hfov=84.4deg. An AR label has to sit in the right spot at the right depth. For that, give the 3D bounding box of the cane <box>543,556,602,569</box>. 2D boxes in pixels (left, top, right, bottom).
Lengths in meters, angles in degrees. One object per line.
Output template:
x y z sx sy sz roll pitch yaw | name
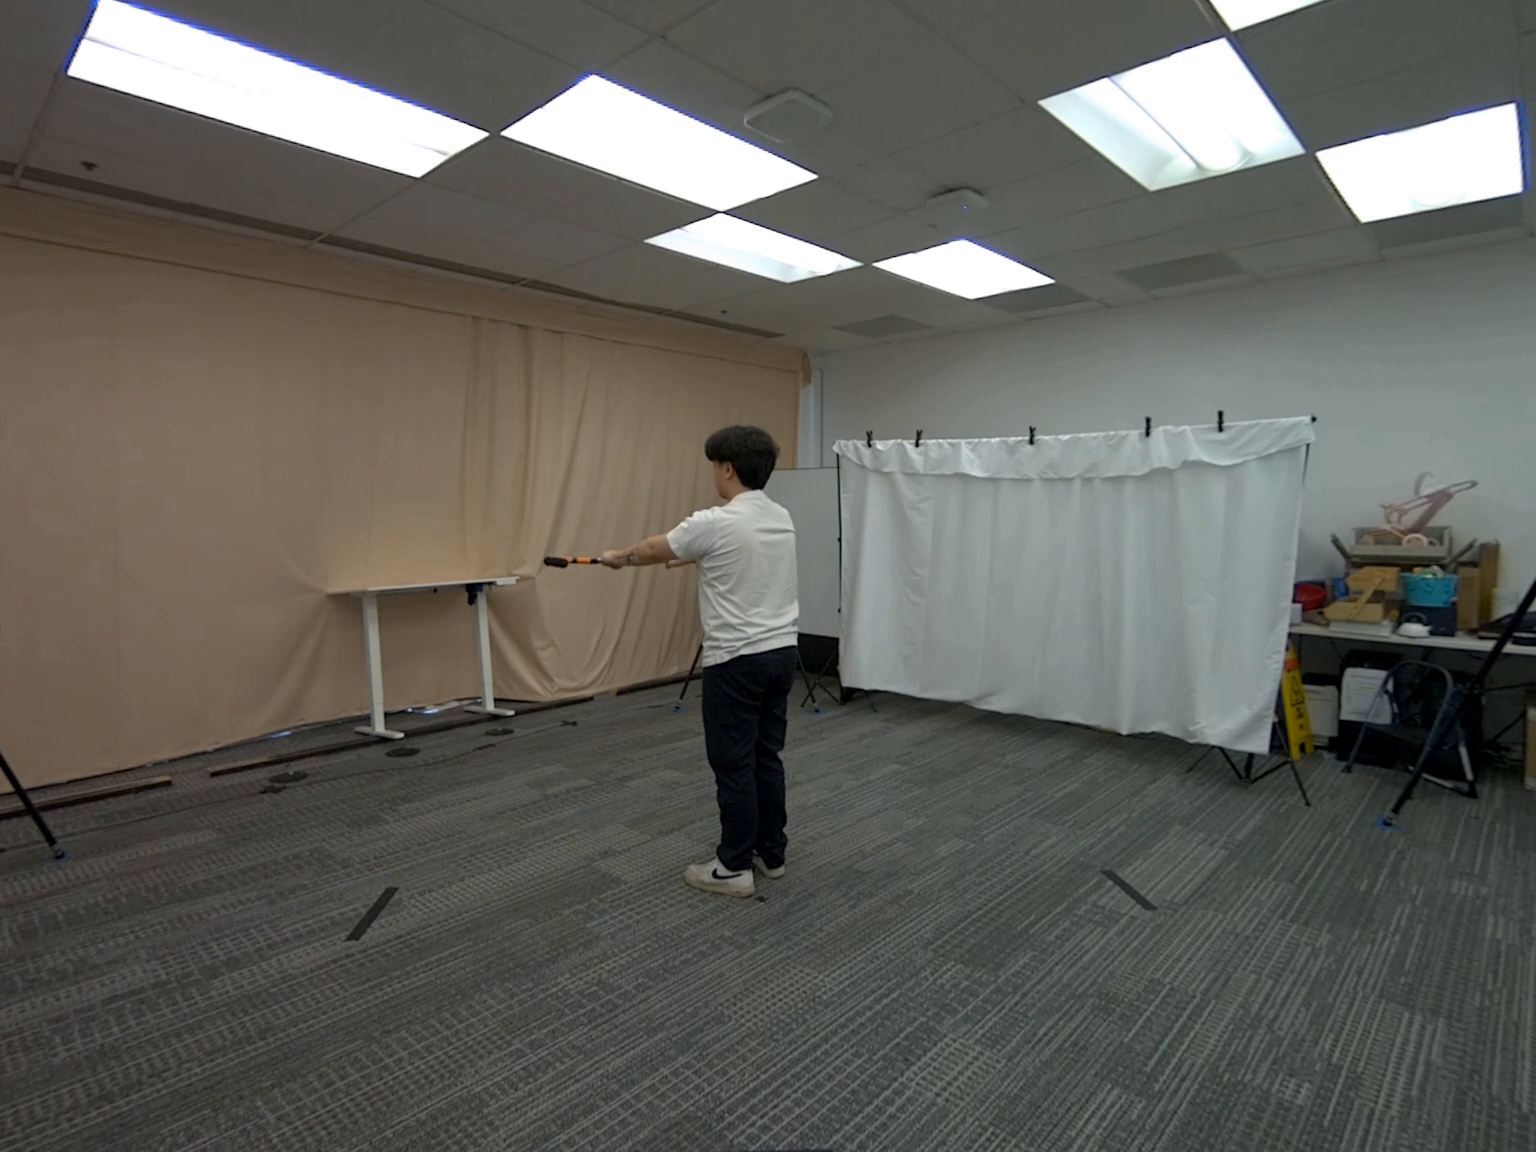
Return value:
-0.528 -0.084 3.443 0.213 0.151 0.879 7 6 43 | cane
